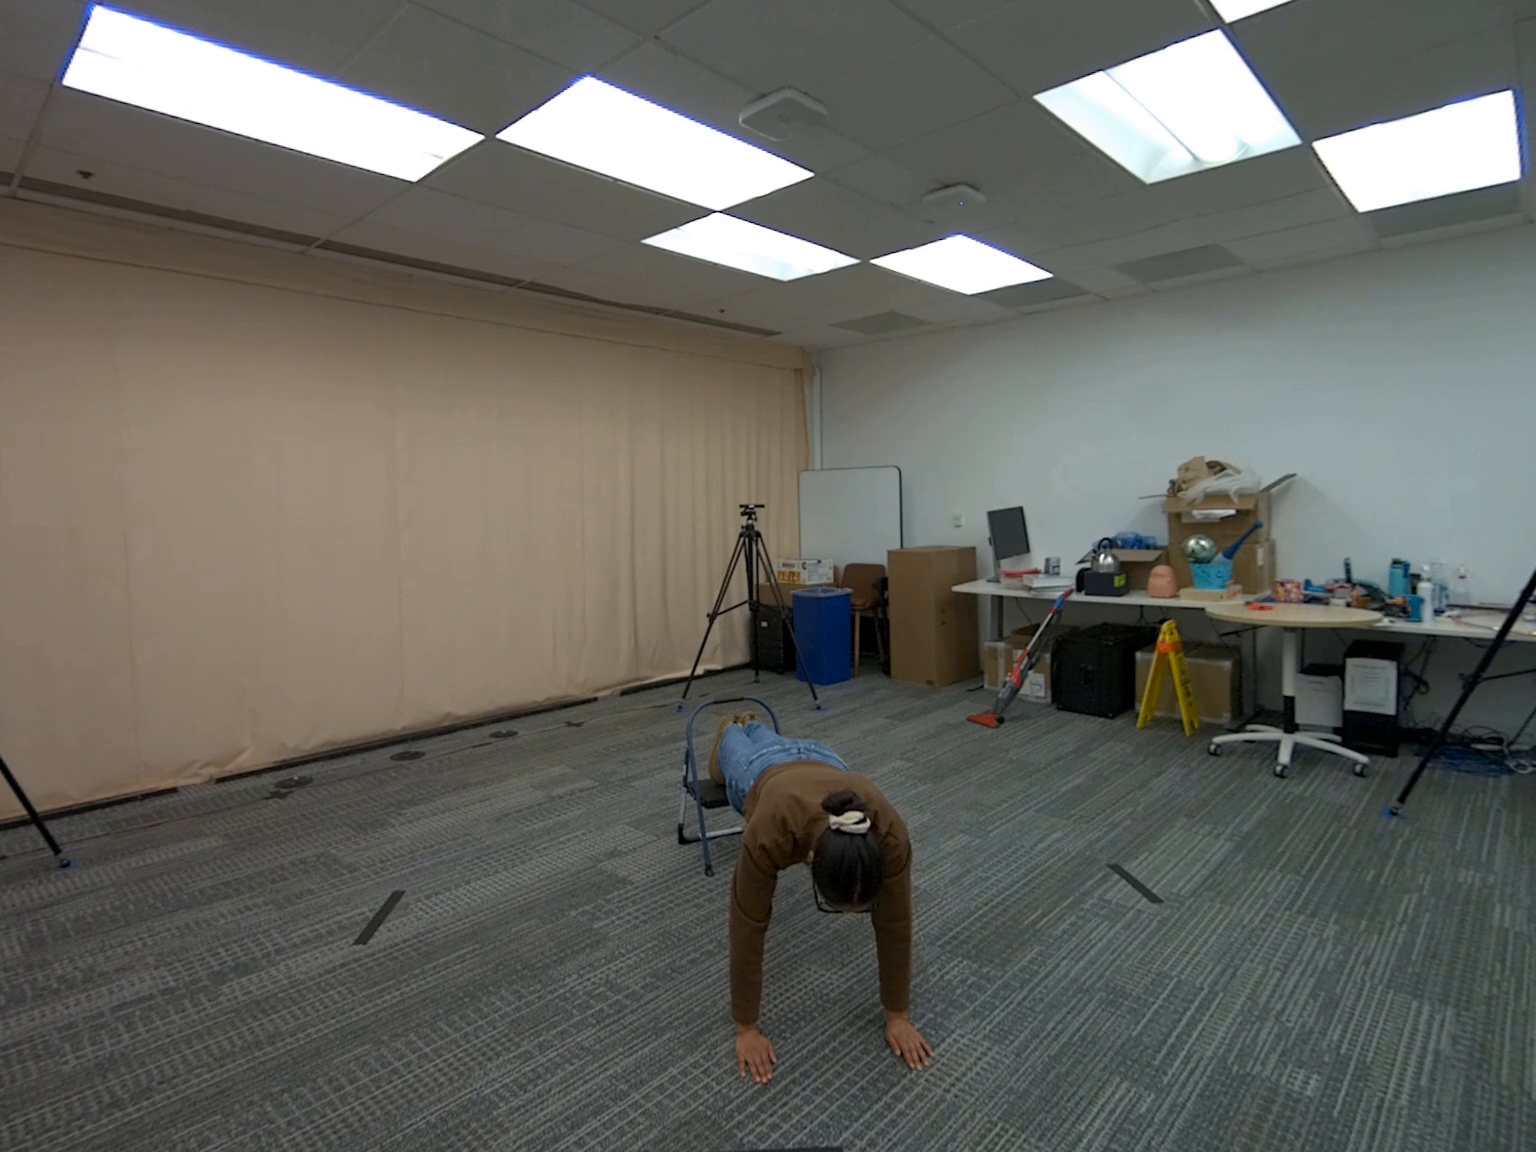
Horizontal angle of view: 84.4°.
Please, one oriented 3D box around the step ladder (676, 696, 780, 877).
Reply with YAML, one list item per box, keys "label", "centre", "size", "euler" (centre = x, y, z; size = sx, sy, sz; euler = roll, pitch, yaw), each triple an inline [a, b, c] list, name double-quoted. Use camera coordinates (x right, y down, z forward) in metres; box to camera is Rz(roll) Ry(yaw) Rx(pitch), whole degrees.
- label: "step ladder"
  centre: [-0.118, 0.807, 3.390]
  size: [0.420, 0.605, 0.358]
  euler: [-3, 3, -25]
